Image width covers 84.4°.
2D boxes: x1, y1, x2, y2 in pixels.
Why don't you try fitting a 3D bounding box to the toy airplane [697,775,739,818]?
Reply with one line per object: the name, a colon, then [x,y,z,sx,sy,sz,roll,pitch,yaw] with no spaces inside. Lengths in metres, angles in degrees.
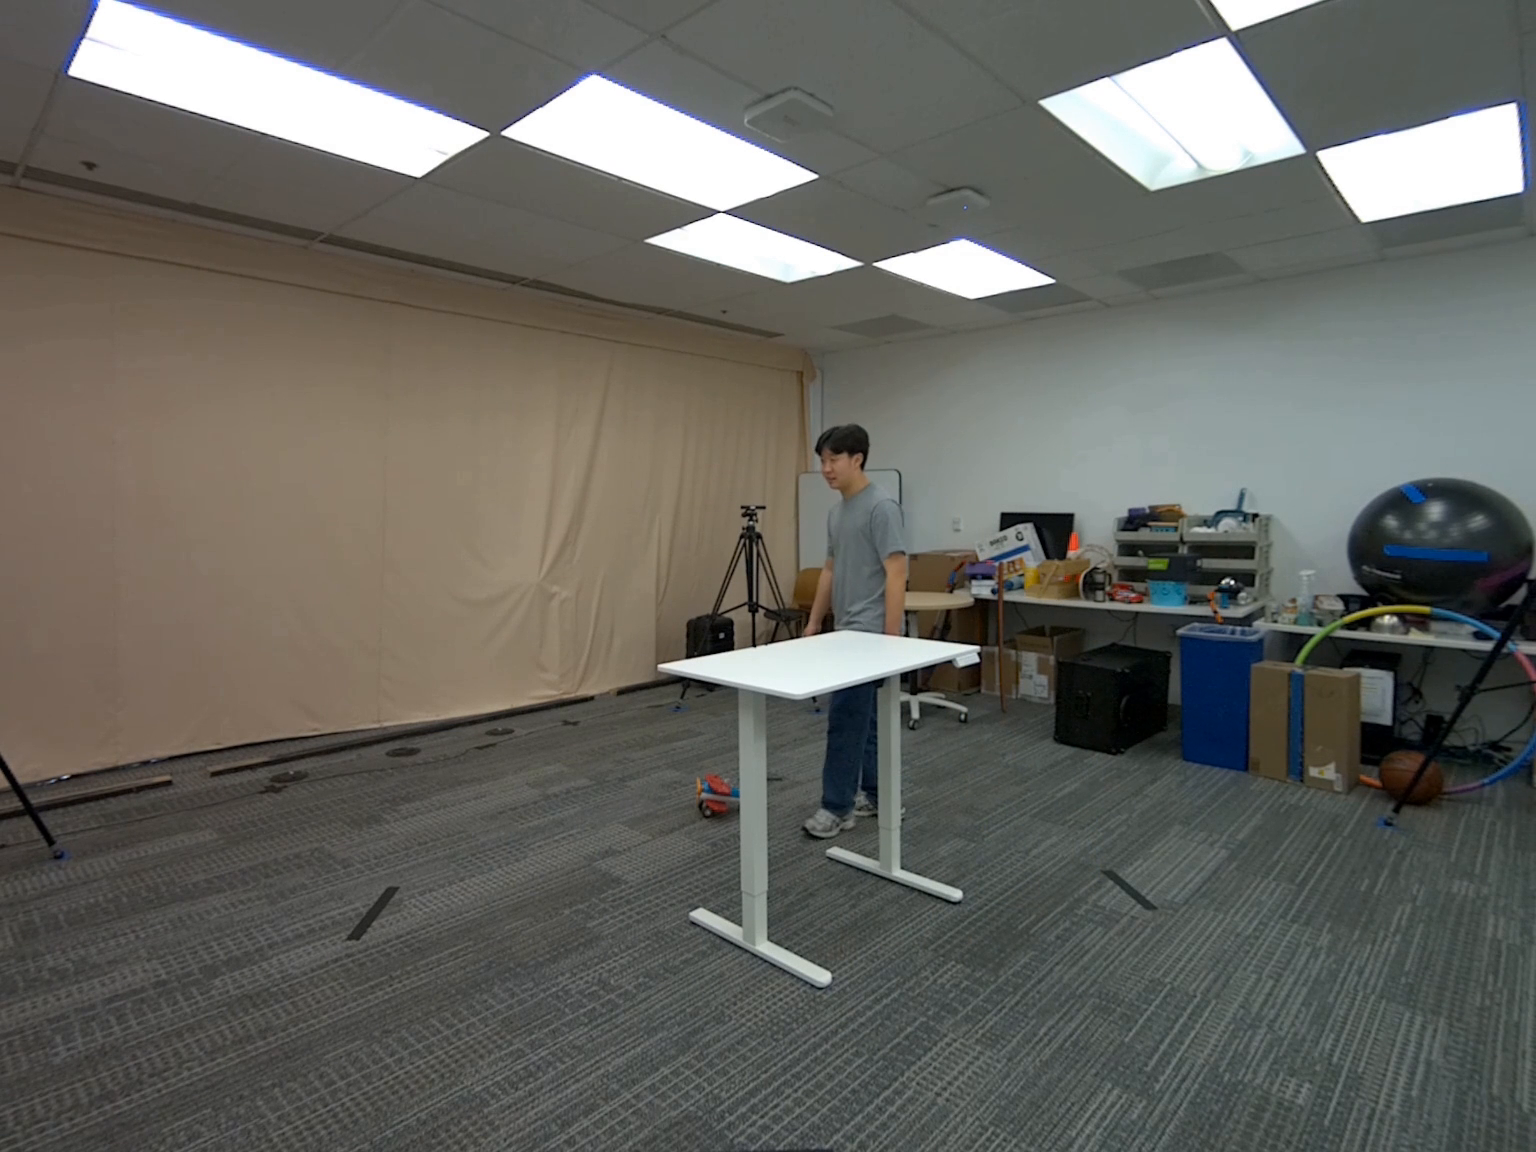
toy airplane: [-0.208,1.002,3.849,0.251,0.156,0.259,-6,7,-43]
